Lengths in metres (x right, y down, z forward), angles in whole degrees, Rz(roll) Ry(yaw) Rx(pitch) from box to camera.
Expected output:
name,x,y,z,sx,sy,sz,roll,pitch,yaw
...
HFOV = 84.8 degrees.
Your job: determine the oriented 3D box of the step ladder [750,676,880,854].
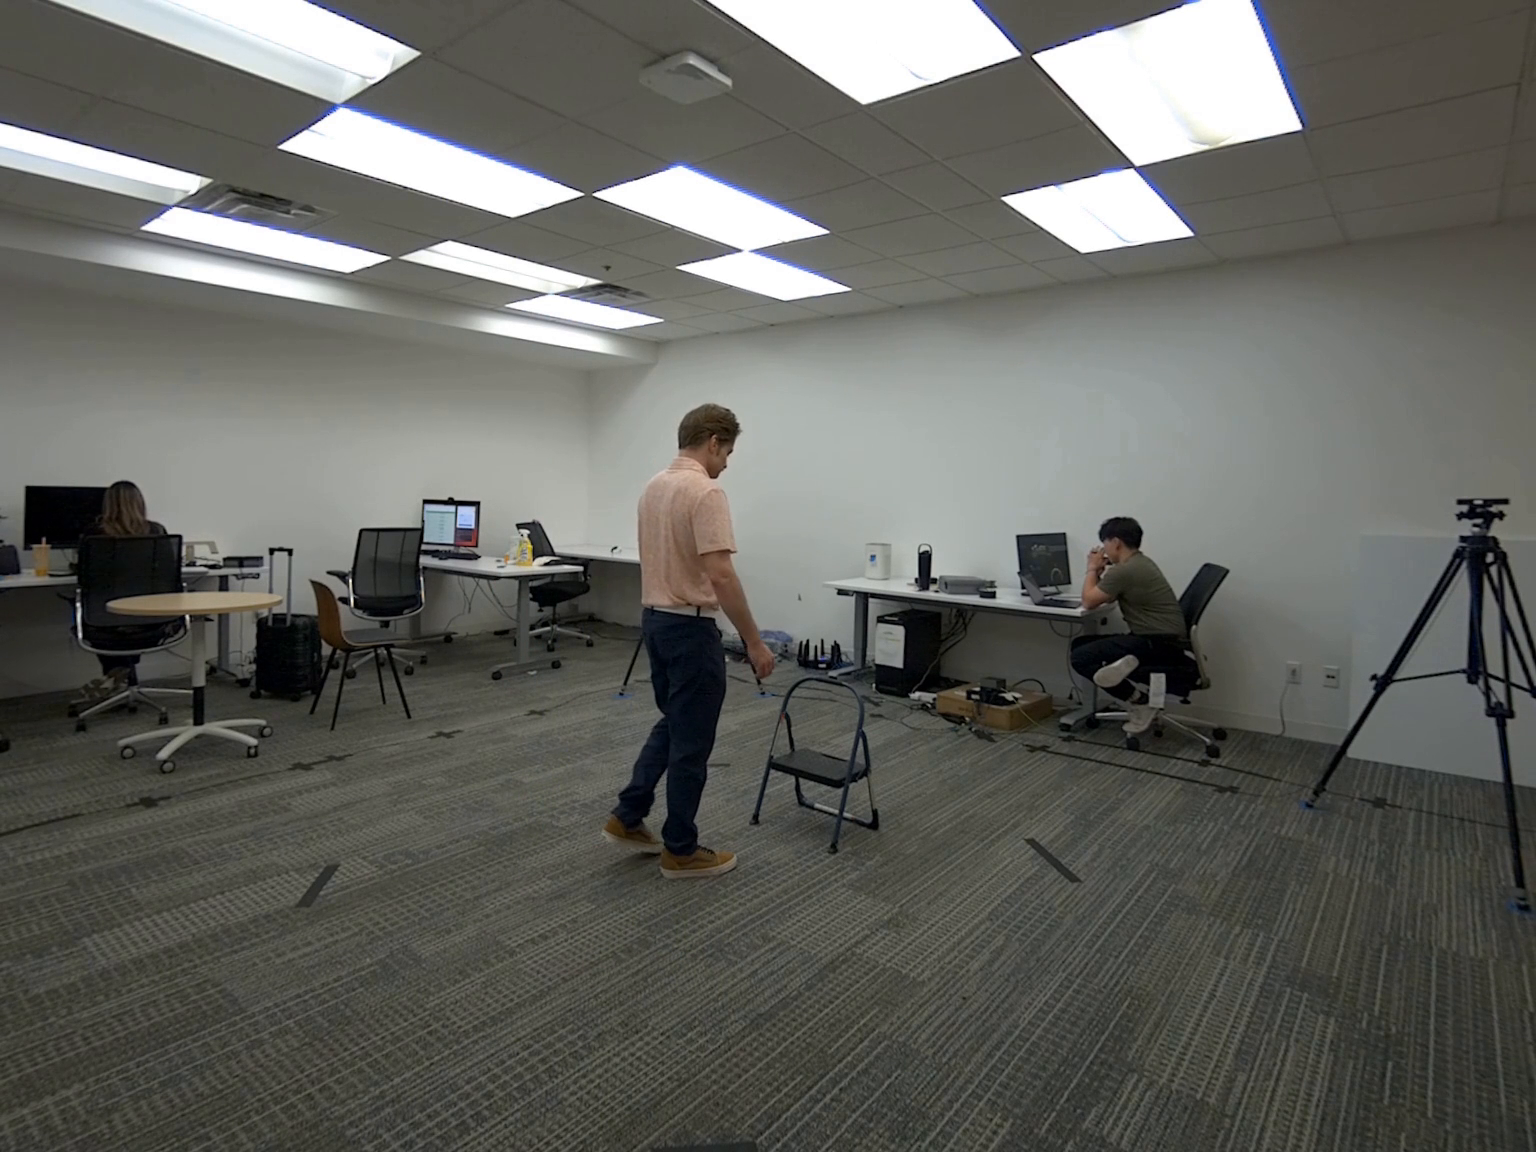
name,x,y,z,sx,sy,sz,roll,pitch,yaw
step ladder,0.196,0.743,3.522,0.445,0.604,0.339,6,5,39
